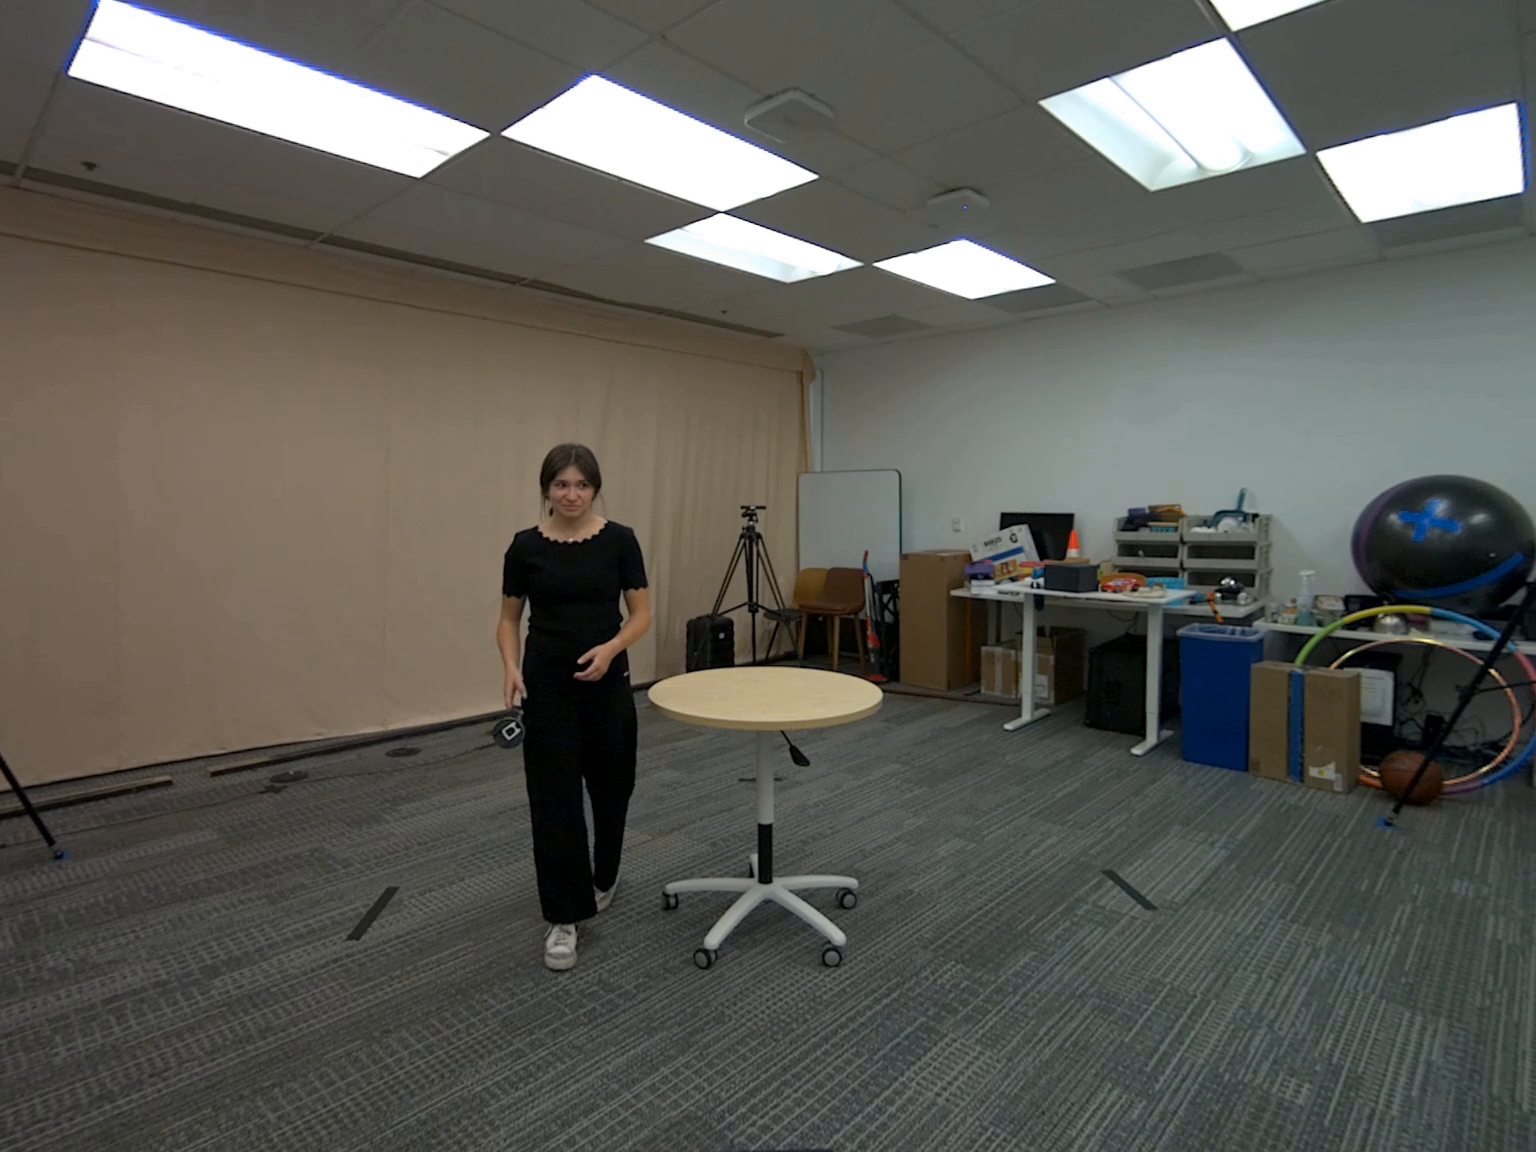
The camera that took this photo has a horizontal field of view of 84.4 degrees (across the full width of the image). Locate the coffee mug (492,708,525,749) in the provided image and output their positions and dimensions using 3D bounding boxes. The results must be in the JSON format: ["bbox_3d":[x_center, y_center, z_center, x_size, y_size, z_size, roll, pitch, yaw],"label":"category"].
[{"bbox_3d":[-0.744,0.443,2.522,0.088,0.122,0.201,41,-6,5],"label":"coffee mug"}]
